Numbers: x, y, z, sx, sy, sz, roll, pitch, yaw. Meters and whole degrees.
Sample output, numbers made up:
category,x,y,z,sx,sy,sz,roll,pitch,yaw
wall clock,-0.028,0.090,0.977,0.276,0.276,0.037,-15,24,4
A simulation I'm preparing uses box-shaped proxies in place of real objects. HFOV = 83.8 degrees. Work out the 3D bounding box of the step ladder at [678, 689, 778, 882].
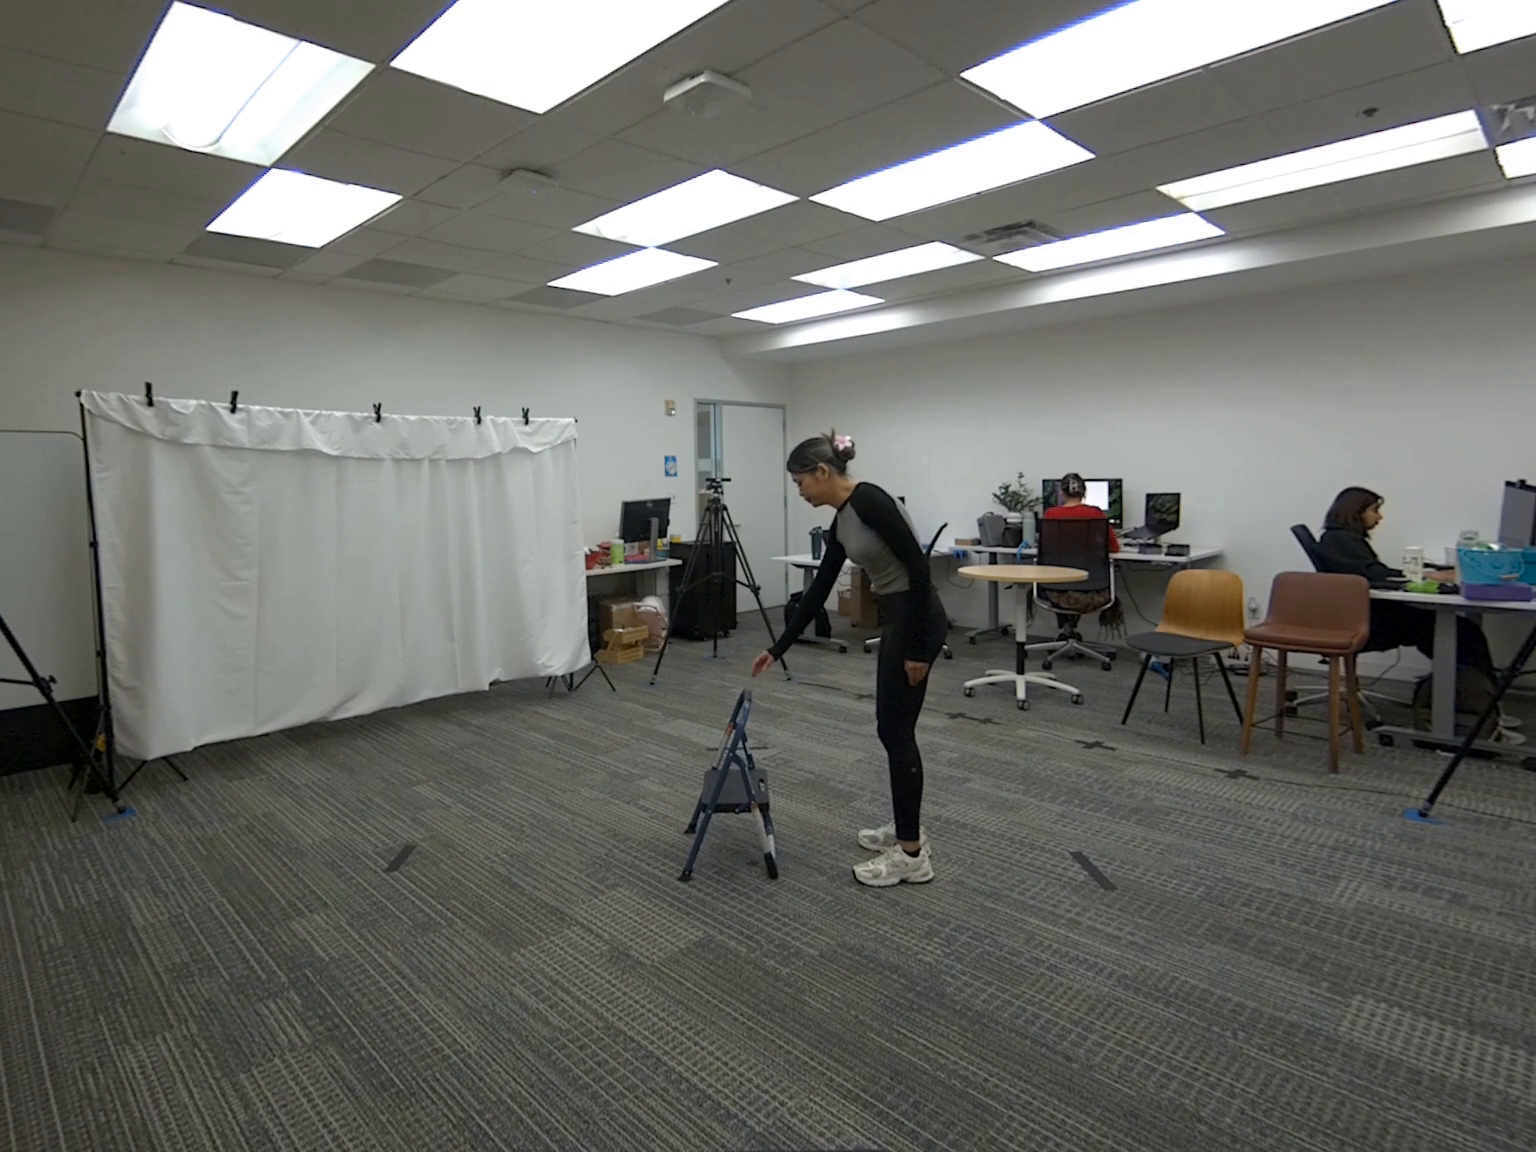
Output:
category,x,y,z,sx,sy,sz,roll,pitch,yaw
step ladder,-0.145,0.739,3.165,0.350,0.604,0.432,-2,4,0
